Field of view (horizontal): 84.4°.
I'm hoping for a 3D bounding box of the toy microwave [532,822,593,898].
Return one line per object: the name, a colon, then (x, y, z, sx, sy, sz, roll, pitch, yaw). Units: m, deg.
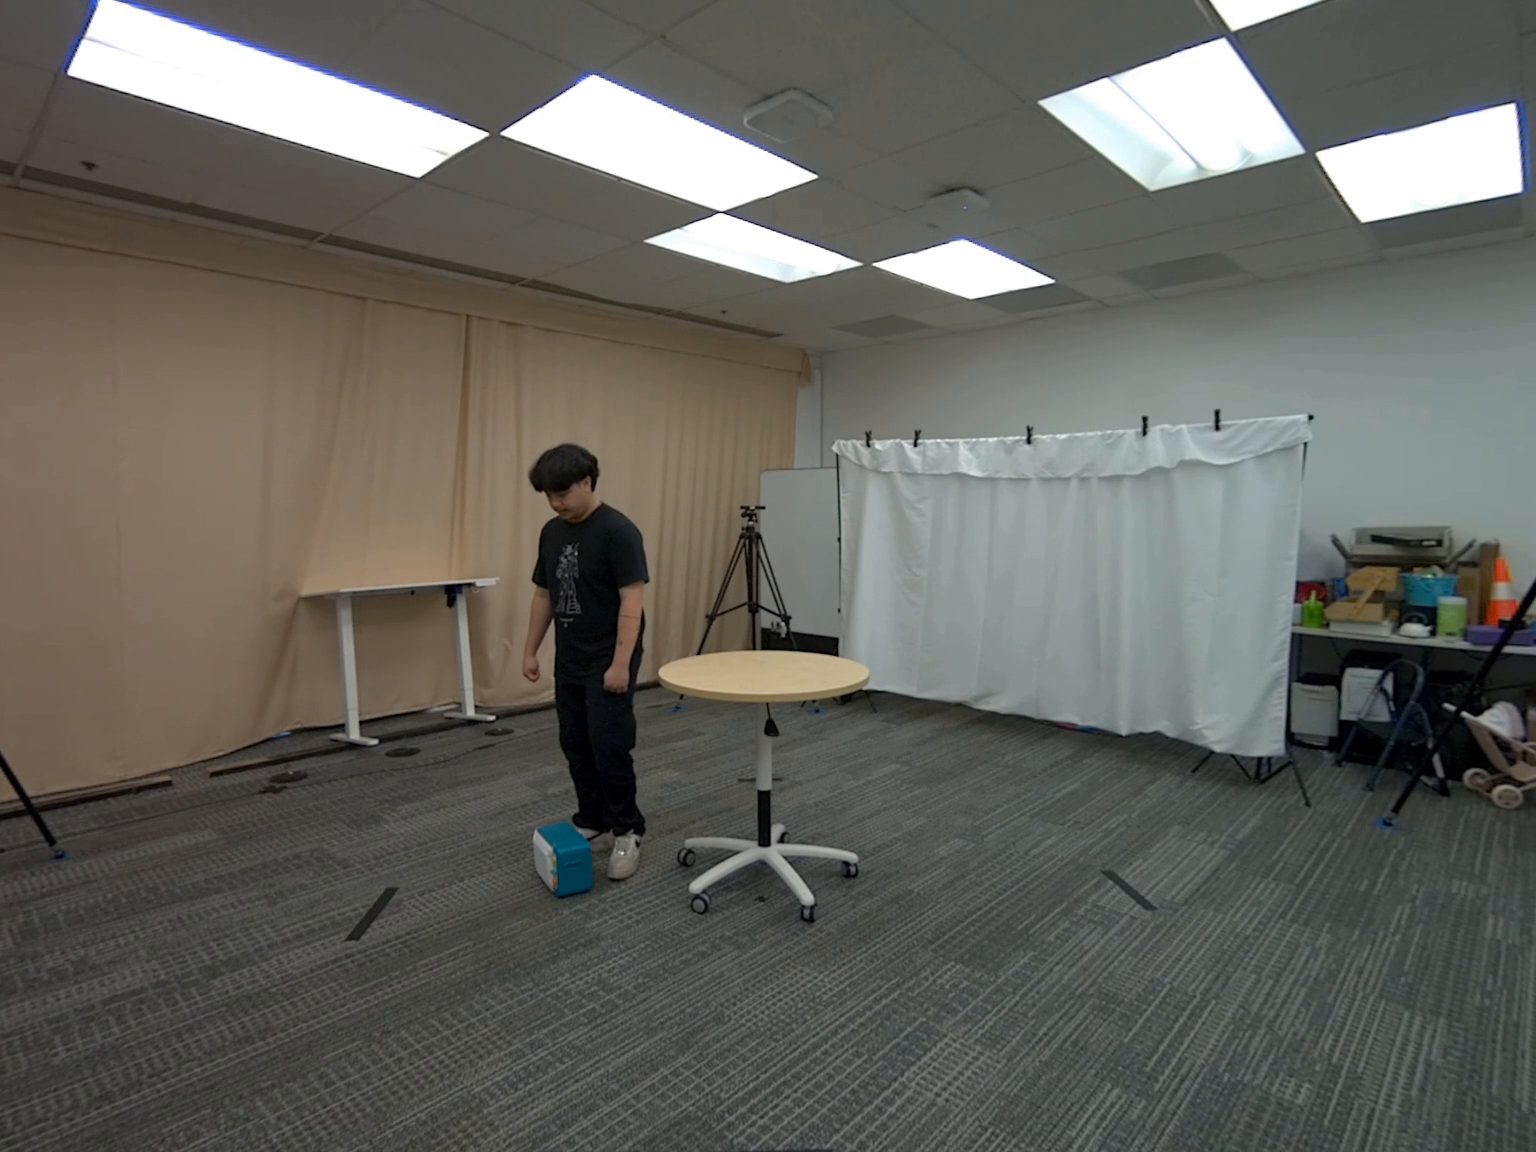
toy microwave: (-0.760, 1.043, 3.127, 0.148, 0.183, 0.295, -4, 5, -31)
